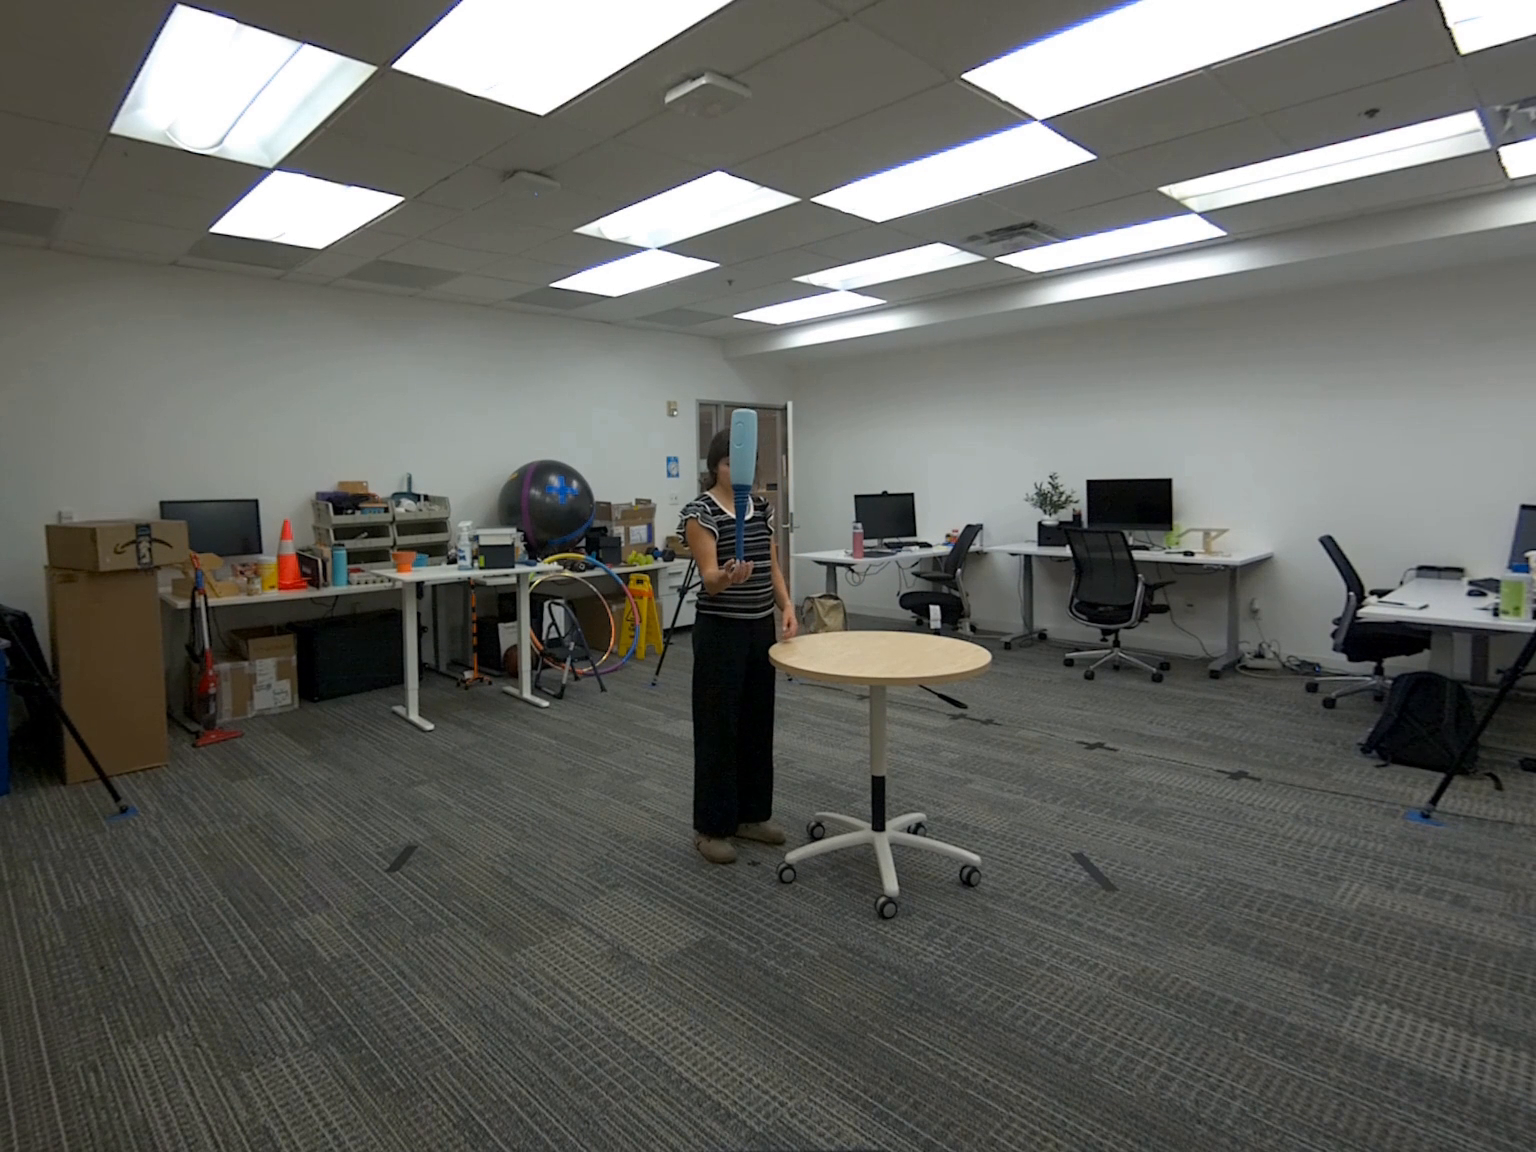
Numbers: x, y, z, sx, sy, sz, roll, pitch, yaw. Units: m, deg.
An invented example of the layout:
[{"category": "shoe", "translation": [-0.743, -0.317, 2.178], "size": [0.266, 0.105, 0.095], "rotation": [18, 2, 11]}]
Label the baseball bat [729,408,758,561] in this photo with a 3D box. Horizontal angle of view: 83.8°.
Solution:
[{"category": "baseball bat", "translation": [-0.086, -0.278, 2.829], "size": [0.089, 0.545, 0.089], "rotation": [2, -4, -2]}]
